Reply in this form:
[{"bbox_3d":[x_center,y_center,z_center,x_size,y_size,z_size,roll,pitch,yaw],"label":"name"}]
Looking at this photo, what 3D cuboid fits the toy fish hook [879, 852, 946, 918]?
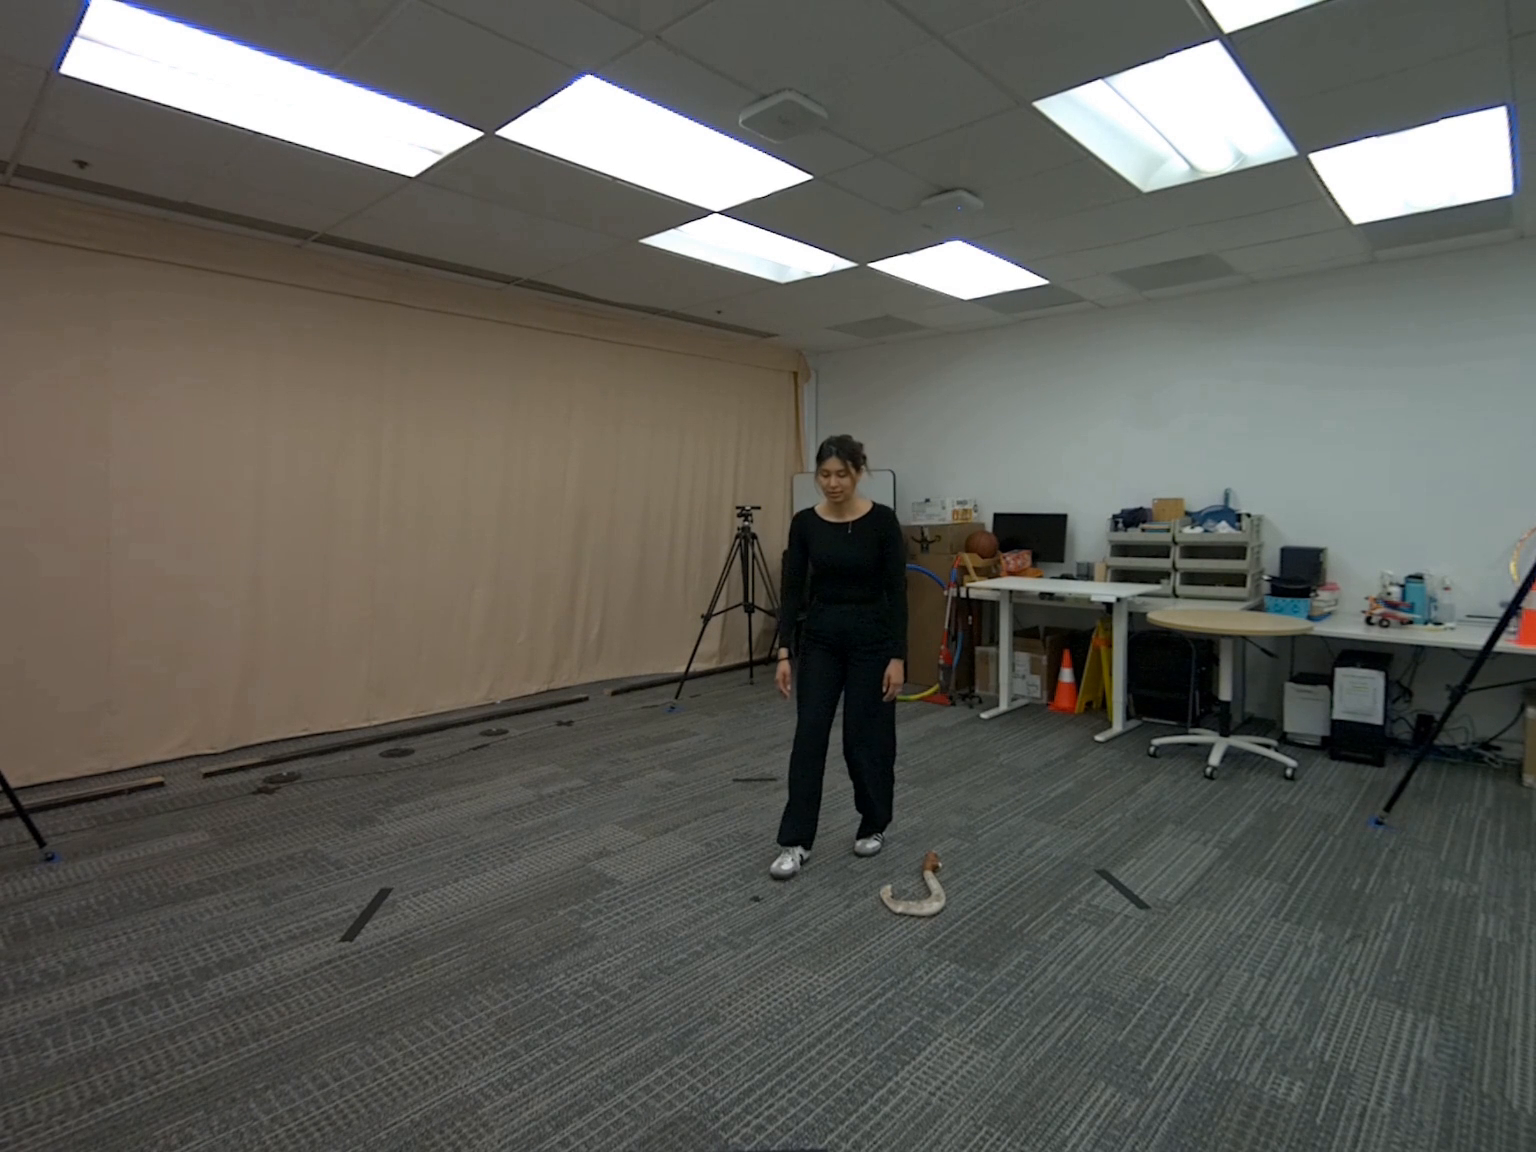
[{"bbox_3d":[0.539,1.112,3.082,0.228,0.048,0.499,1,4,13],"label":"toy fish hook"}]
